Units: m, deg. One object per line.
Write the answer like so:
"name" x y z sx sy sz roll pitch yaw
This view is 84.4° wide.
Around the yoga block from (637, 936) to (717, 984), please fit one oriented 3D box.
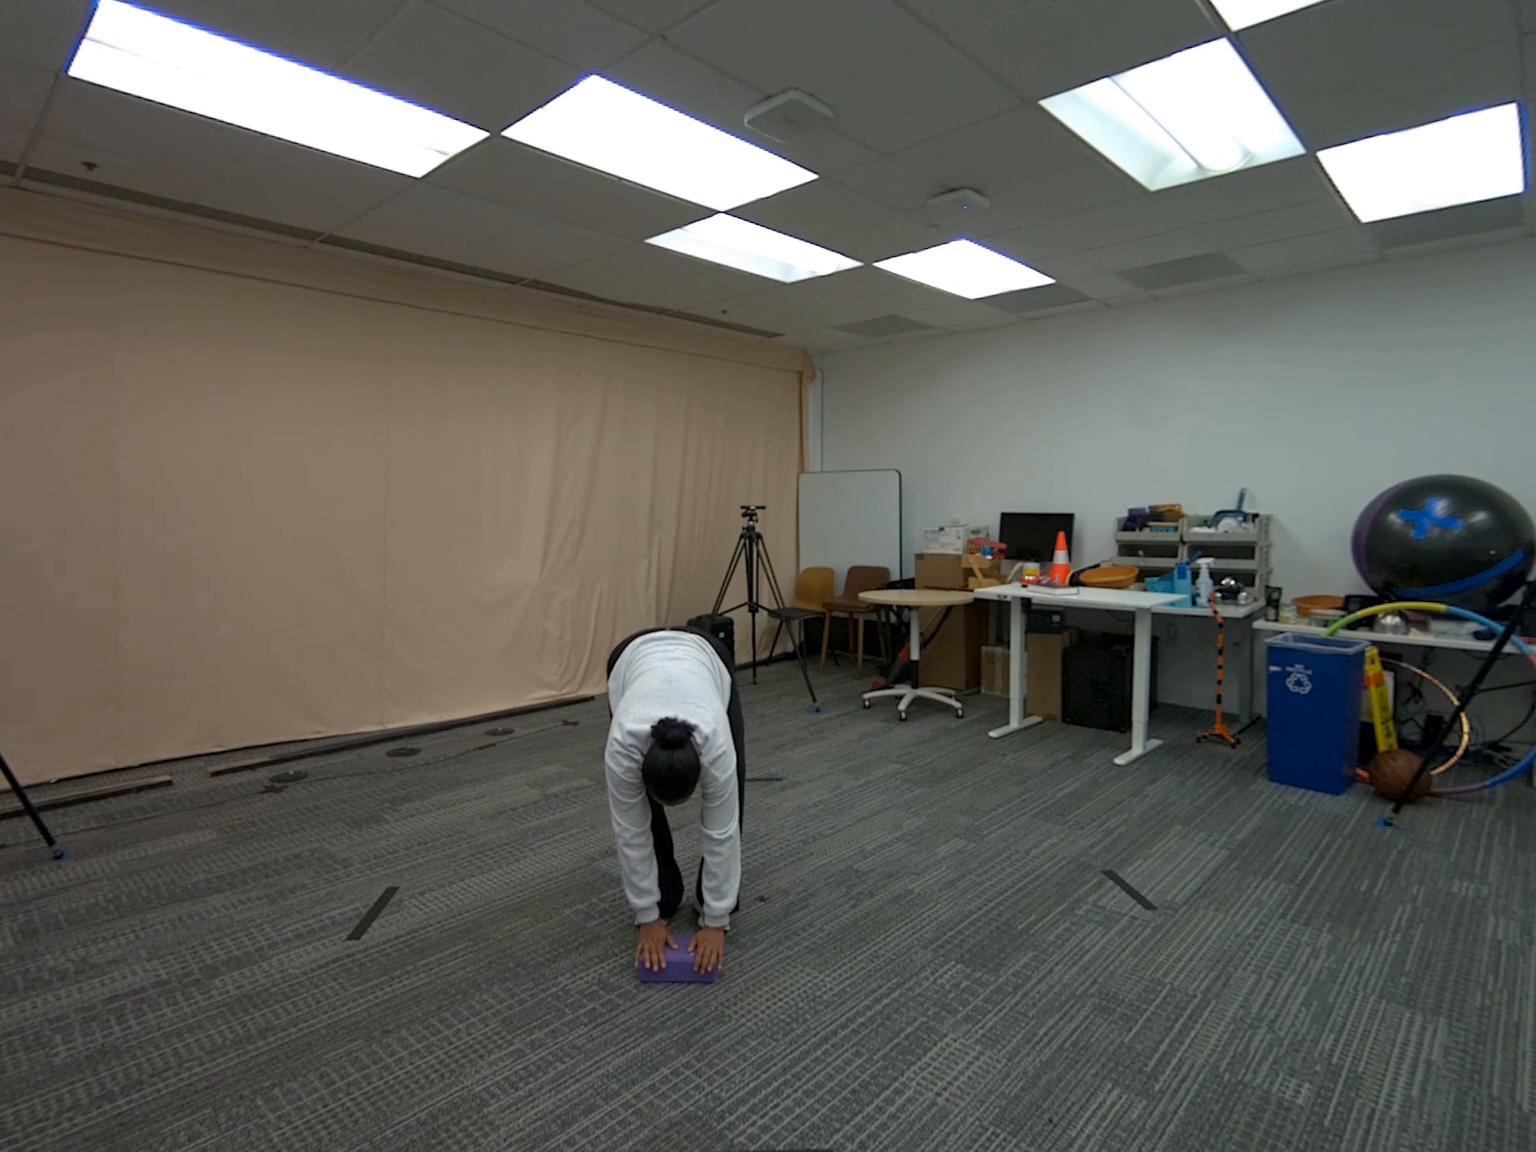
"yoga block" -0.265 1.143 2.525 0.230 0.076 0.149 0 6 1
